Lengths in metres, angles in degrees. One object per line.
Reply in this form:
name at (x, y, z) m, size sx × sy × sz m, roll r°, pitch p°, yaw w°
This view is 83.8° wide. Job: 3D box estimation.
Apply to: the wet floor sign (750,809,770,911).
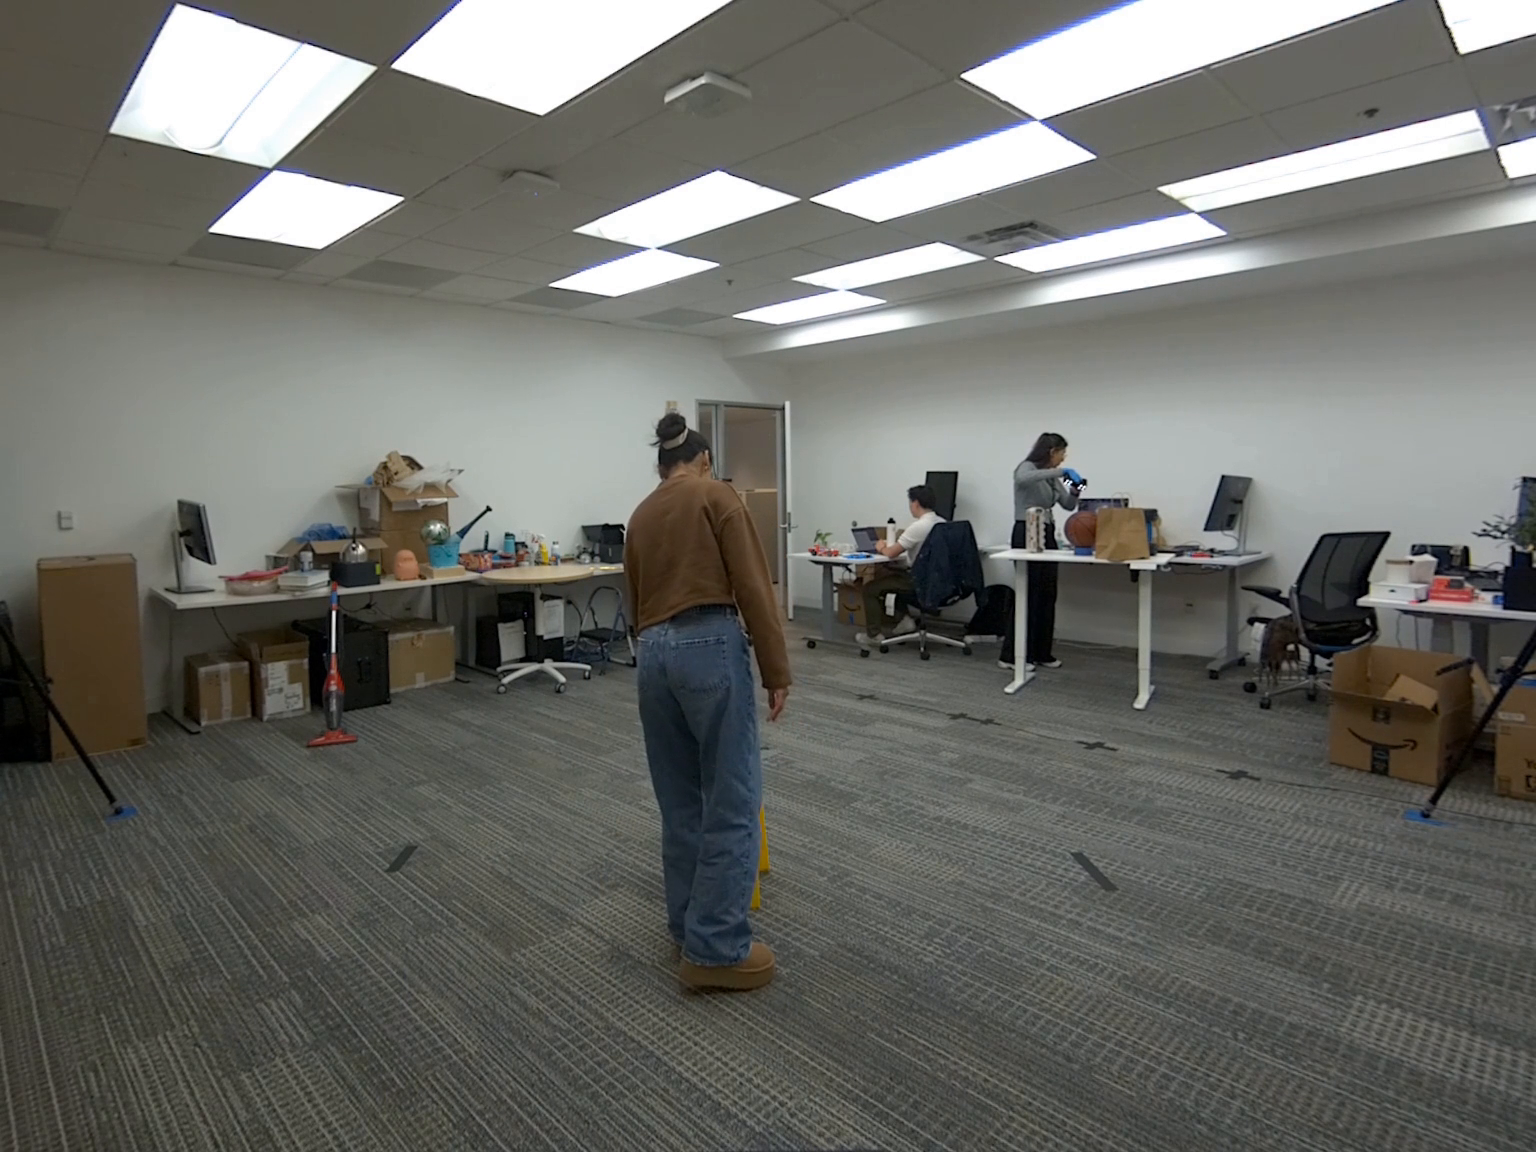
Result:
wet floor sign at (-0.139, 0.754, 2.909) m, size 0.285 × 0.644 × 0.288 m, roll 0°, pitch 4°, yaw 9°
